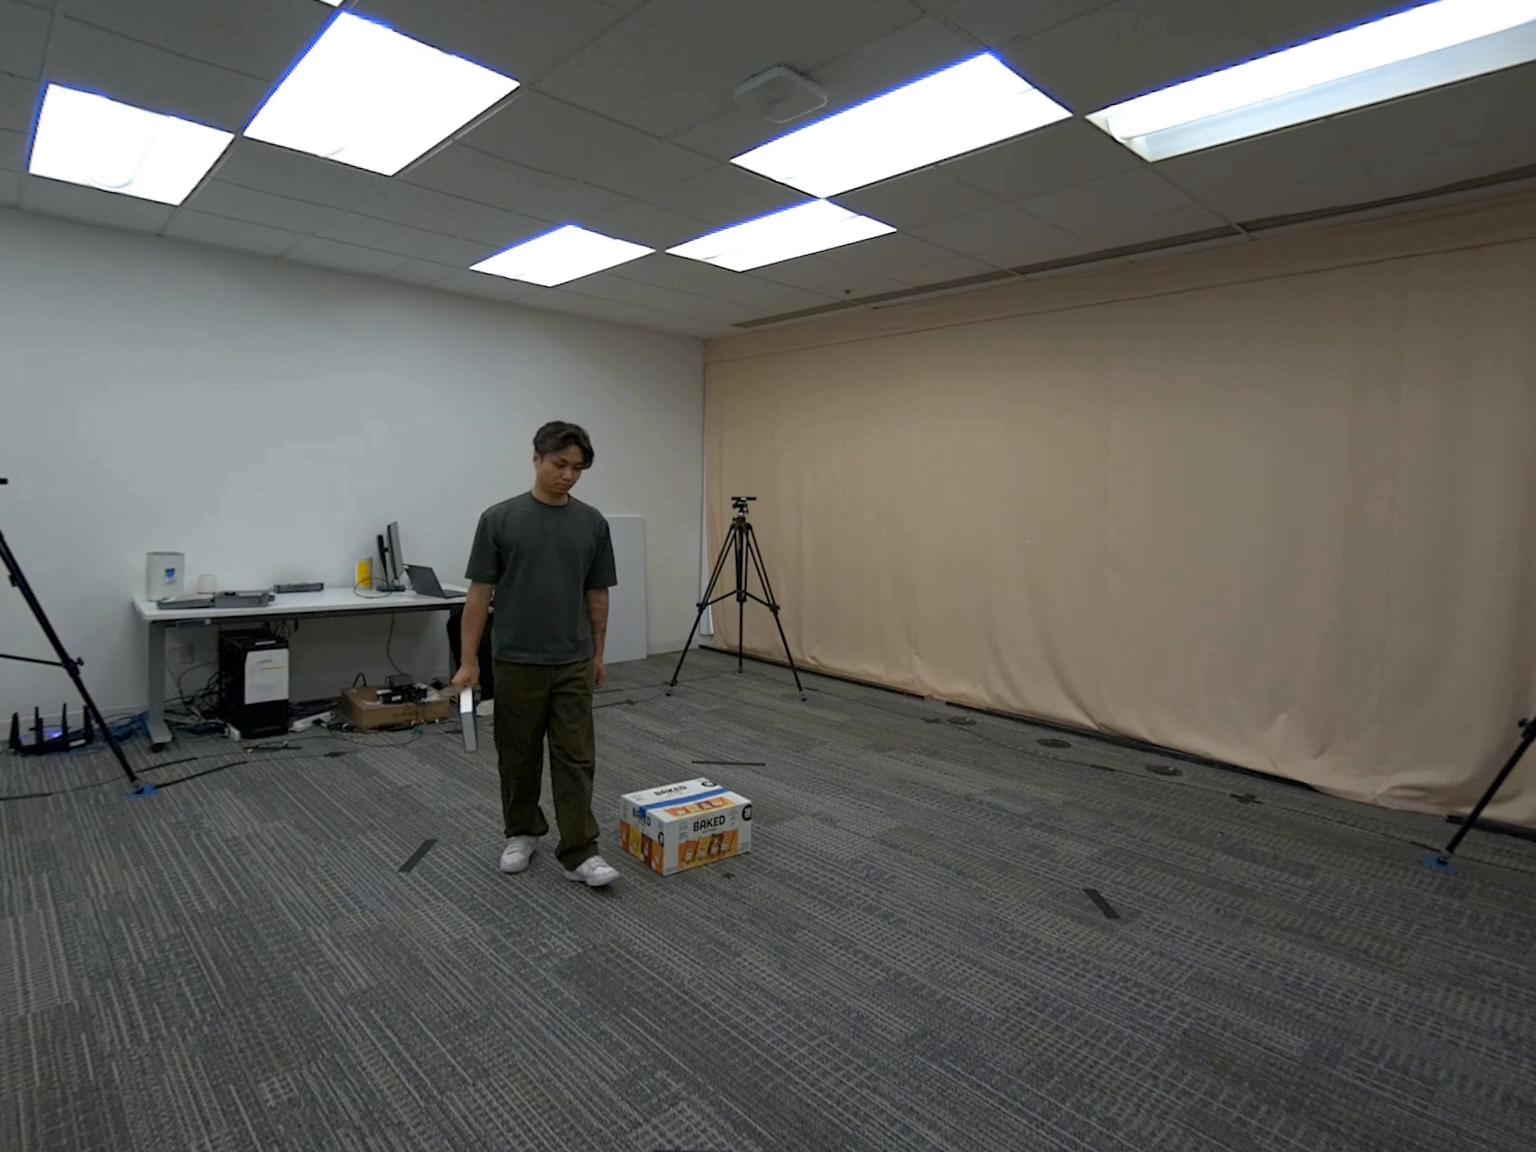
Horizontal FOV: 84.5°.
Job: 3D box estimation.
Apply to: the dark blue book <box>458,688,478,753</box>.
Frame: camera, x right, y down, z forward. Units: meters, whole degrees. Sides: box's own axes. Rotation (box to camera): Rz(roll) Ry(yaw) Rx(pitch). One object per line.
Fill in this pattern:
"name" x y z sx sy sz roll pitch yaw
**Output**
"dark blue book" -1.056 0.482 2.946 0.045 0.161 0.251 -7 21 -17
